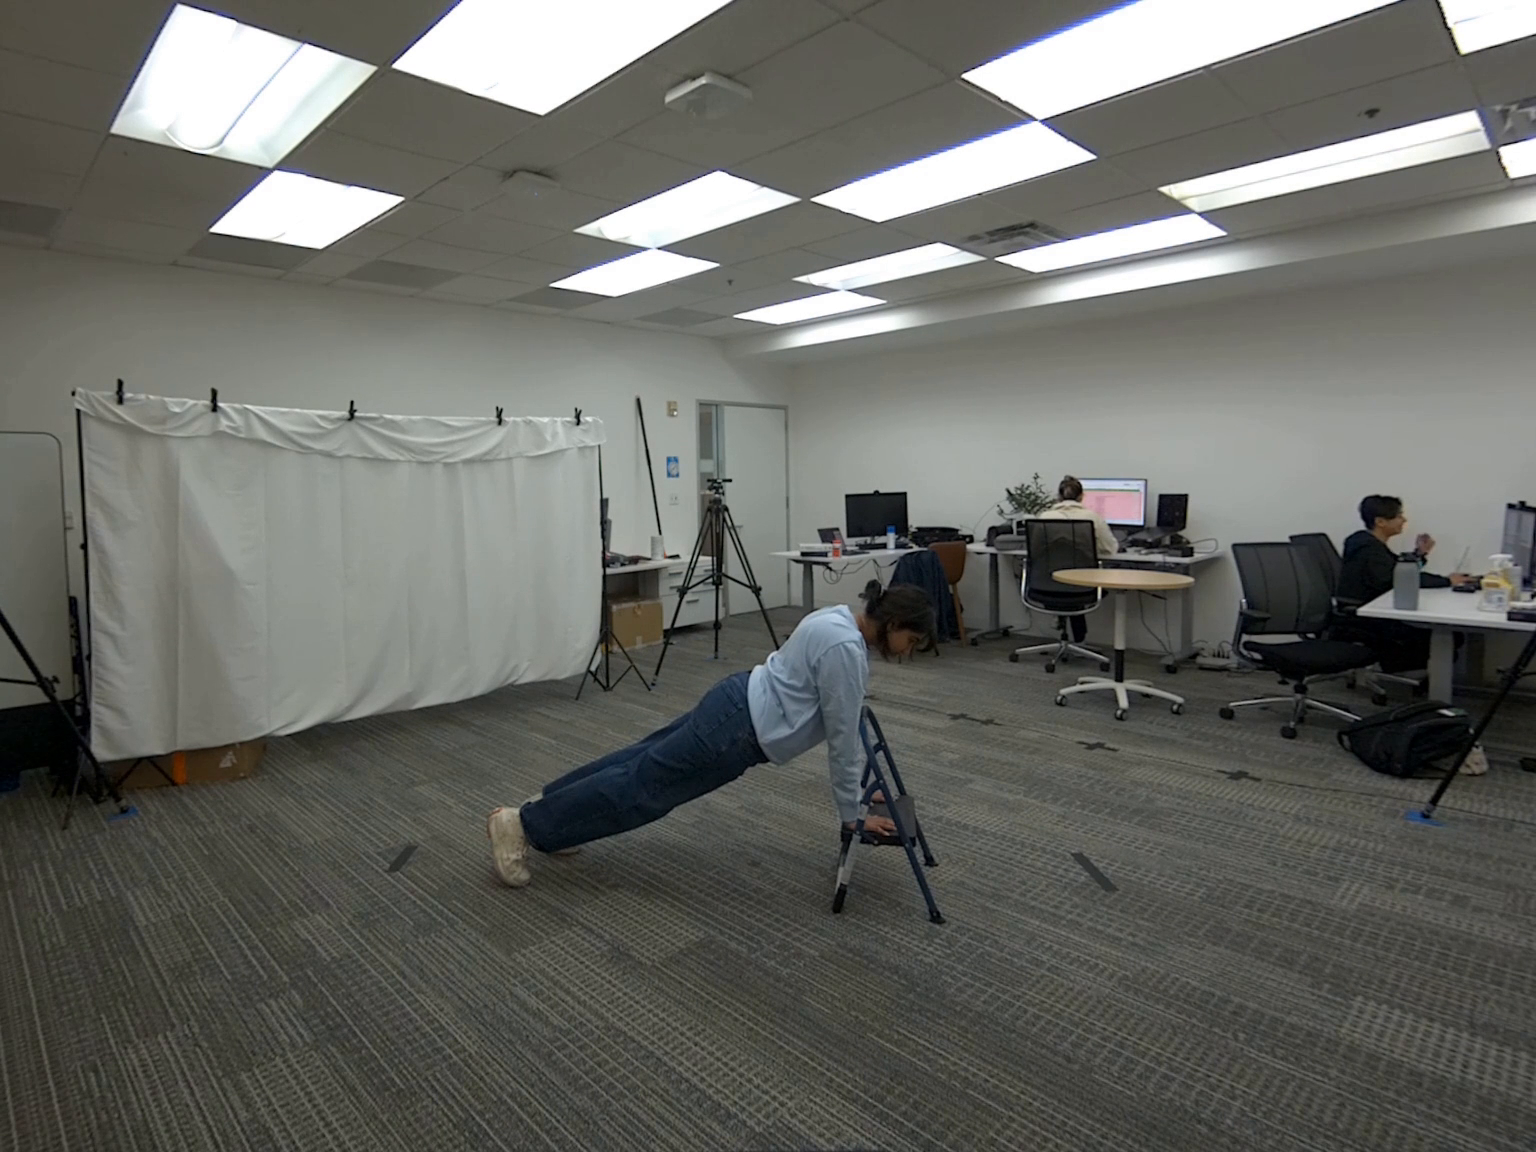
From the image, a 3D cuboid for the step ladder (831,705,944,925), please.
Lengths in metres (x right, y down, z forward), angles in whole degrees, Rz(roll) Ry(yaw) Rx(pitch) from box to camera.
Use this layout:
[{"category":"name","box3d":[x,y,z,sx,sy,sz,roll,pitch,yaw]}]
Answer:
[{"category":"step ladder","box3d":[0.402,0.758,2.888,0.353,0.604,0.428,0,4,9]}]
